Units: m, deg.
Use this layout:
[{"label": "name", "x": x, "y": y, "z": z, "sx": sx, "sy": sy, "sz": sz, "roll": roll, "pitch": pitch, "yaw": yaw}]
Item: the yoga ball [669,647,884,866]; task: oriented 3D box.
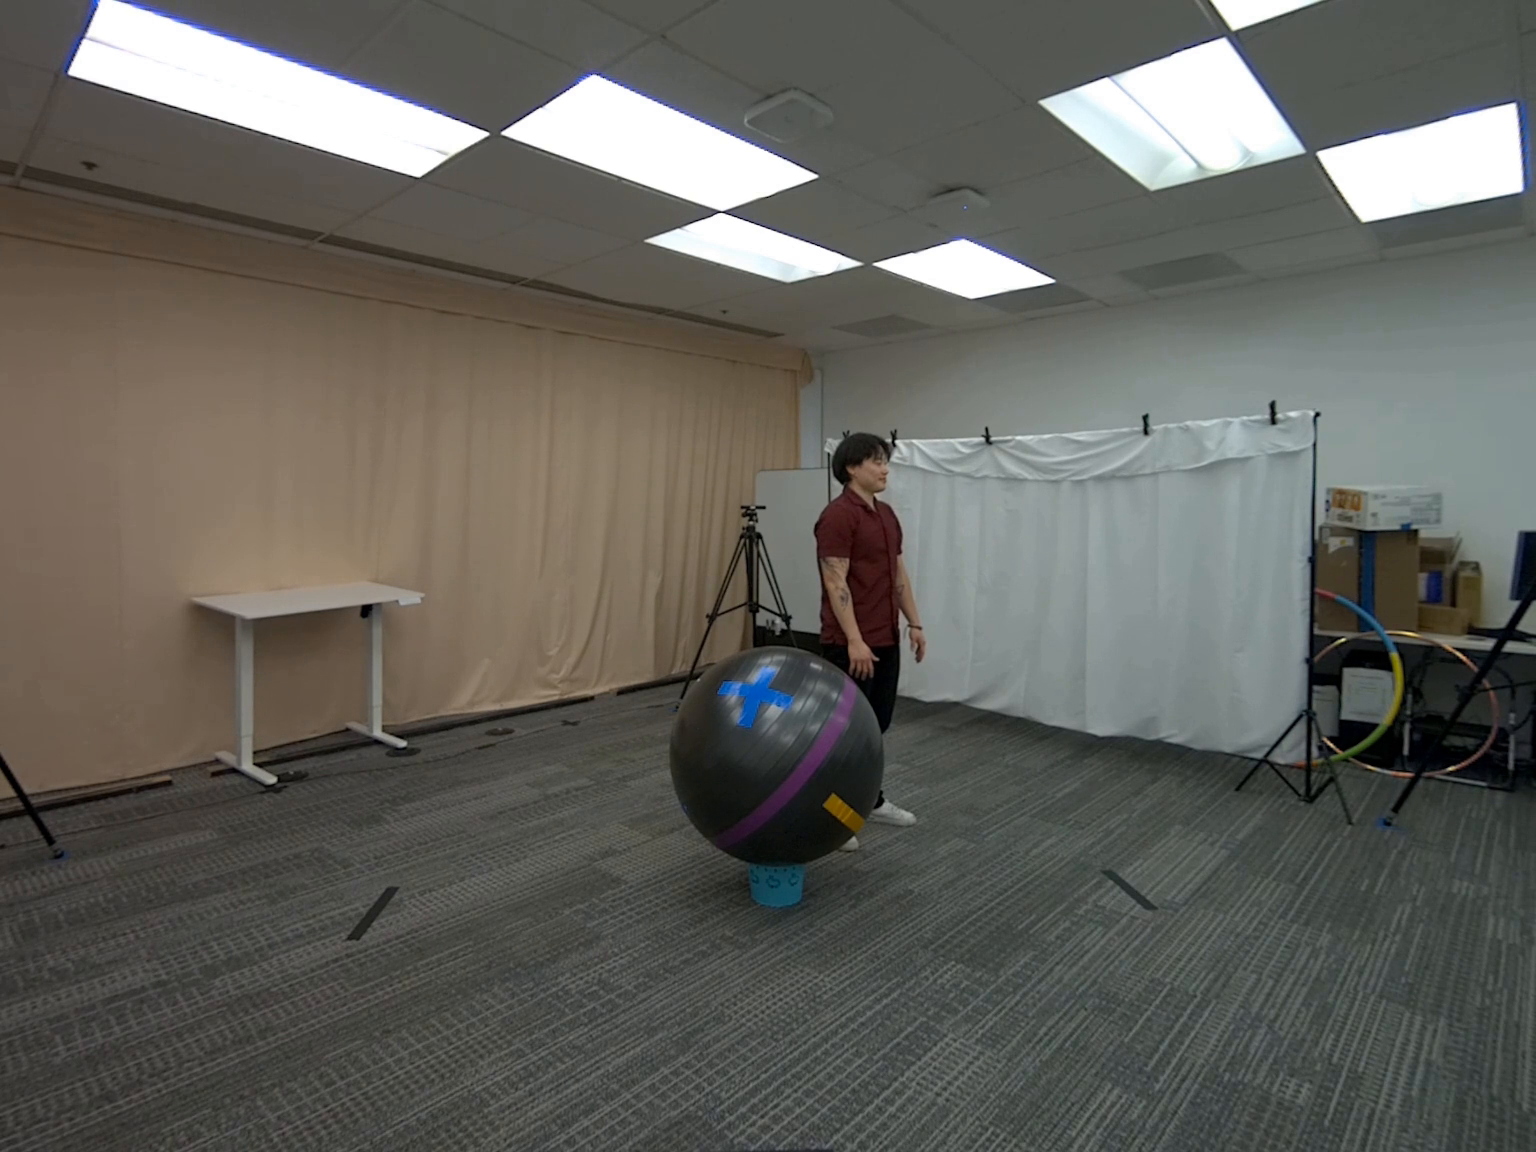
[{"label": "yoga ball", "x": 0.021, "y": 0.634, "z": 2.995, "sx": 0.757, "sy": 0.756, "sz": 0.760, "roll": 0, "pitch": 4, "yaw": -2}]
